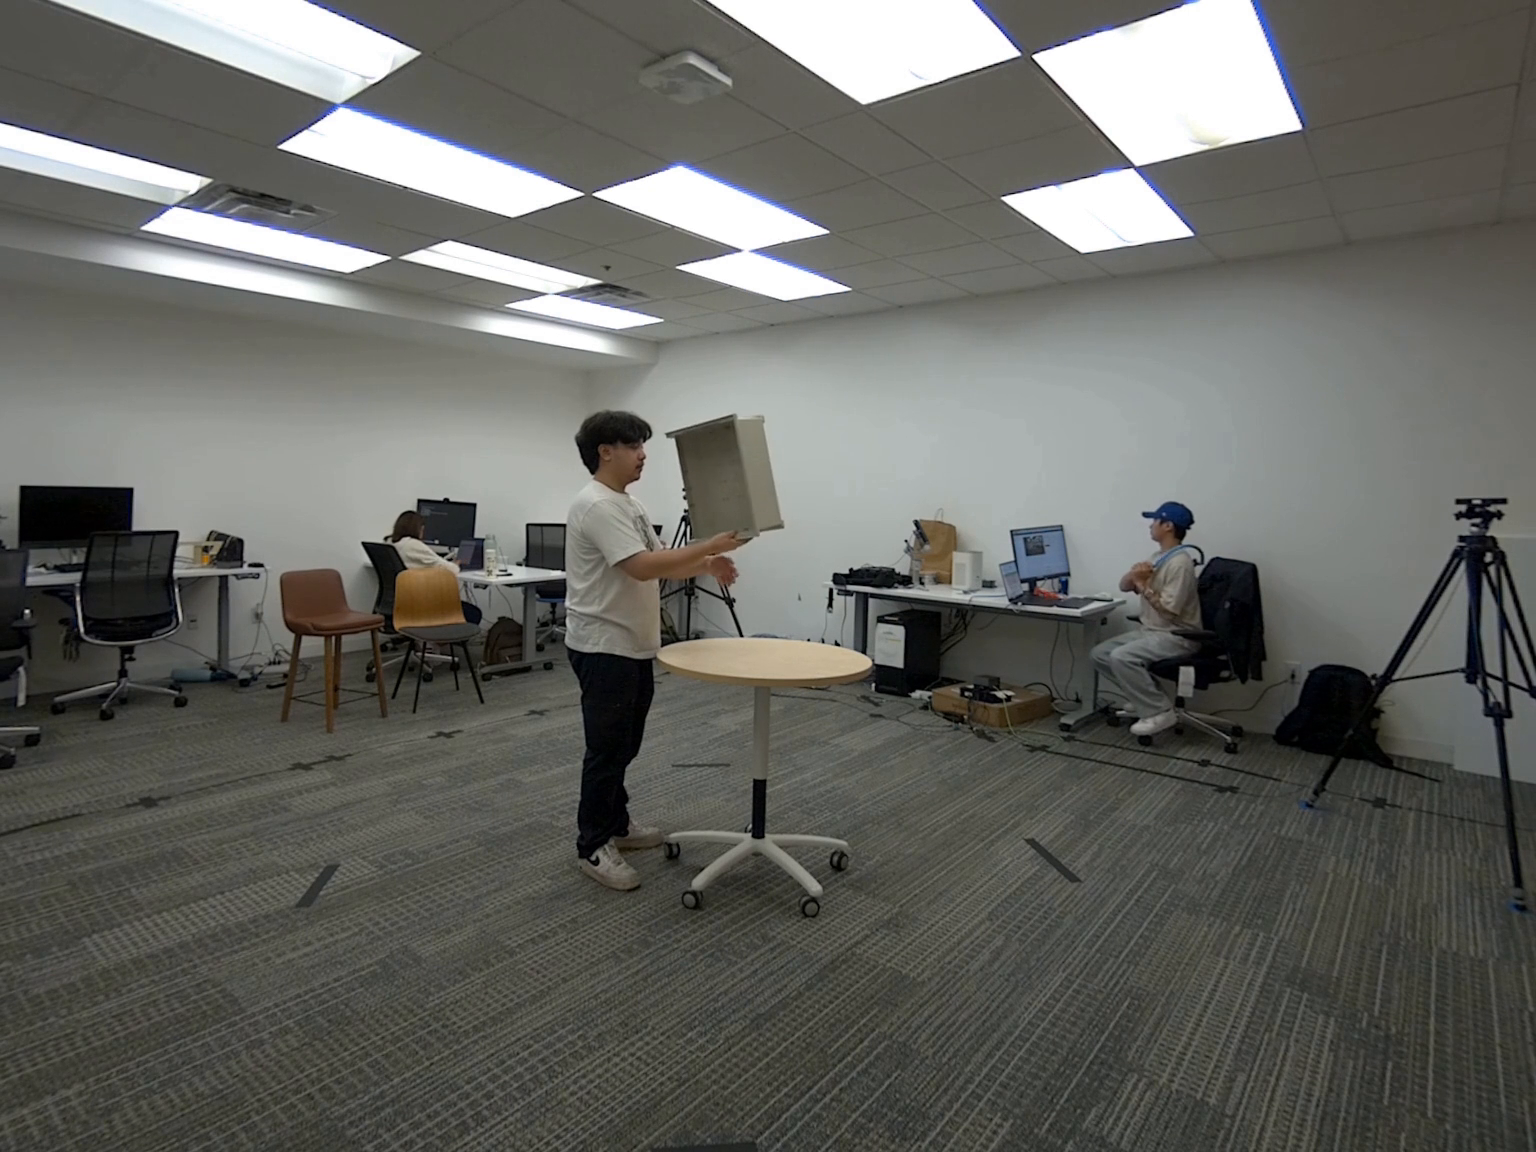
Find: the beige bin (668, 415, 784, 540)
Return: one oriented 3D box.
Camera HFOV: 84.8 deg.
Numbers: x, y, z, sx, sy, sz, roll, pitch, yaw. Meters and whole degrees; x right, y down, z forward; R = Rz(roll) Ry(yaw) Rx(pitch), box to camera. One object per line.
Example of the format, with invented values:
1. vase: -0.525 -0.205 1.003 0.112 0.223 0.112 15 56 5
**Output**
1. beige bin: -0.172 -0.343 3.057 0.387 0.422 0.184 -7 2 37
